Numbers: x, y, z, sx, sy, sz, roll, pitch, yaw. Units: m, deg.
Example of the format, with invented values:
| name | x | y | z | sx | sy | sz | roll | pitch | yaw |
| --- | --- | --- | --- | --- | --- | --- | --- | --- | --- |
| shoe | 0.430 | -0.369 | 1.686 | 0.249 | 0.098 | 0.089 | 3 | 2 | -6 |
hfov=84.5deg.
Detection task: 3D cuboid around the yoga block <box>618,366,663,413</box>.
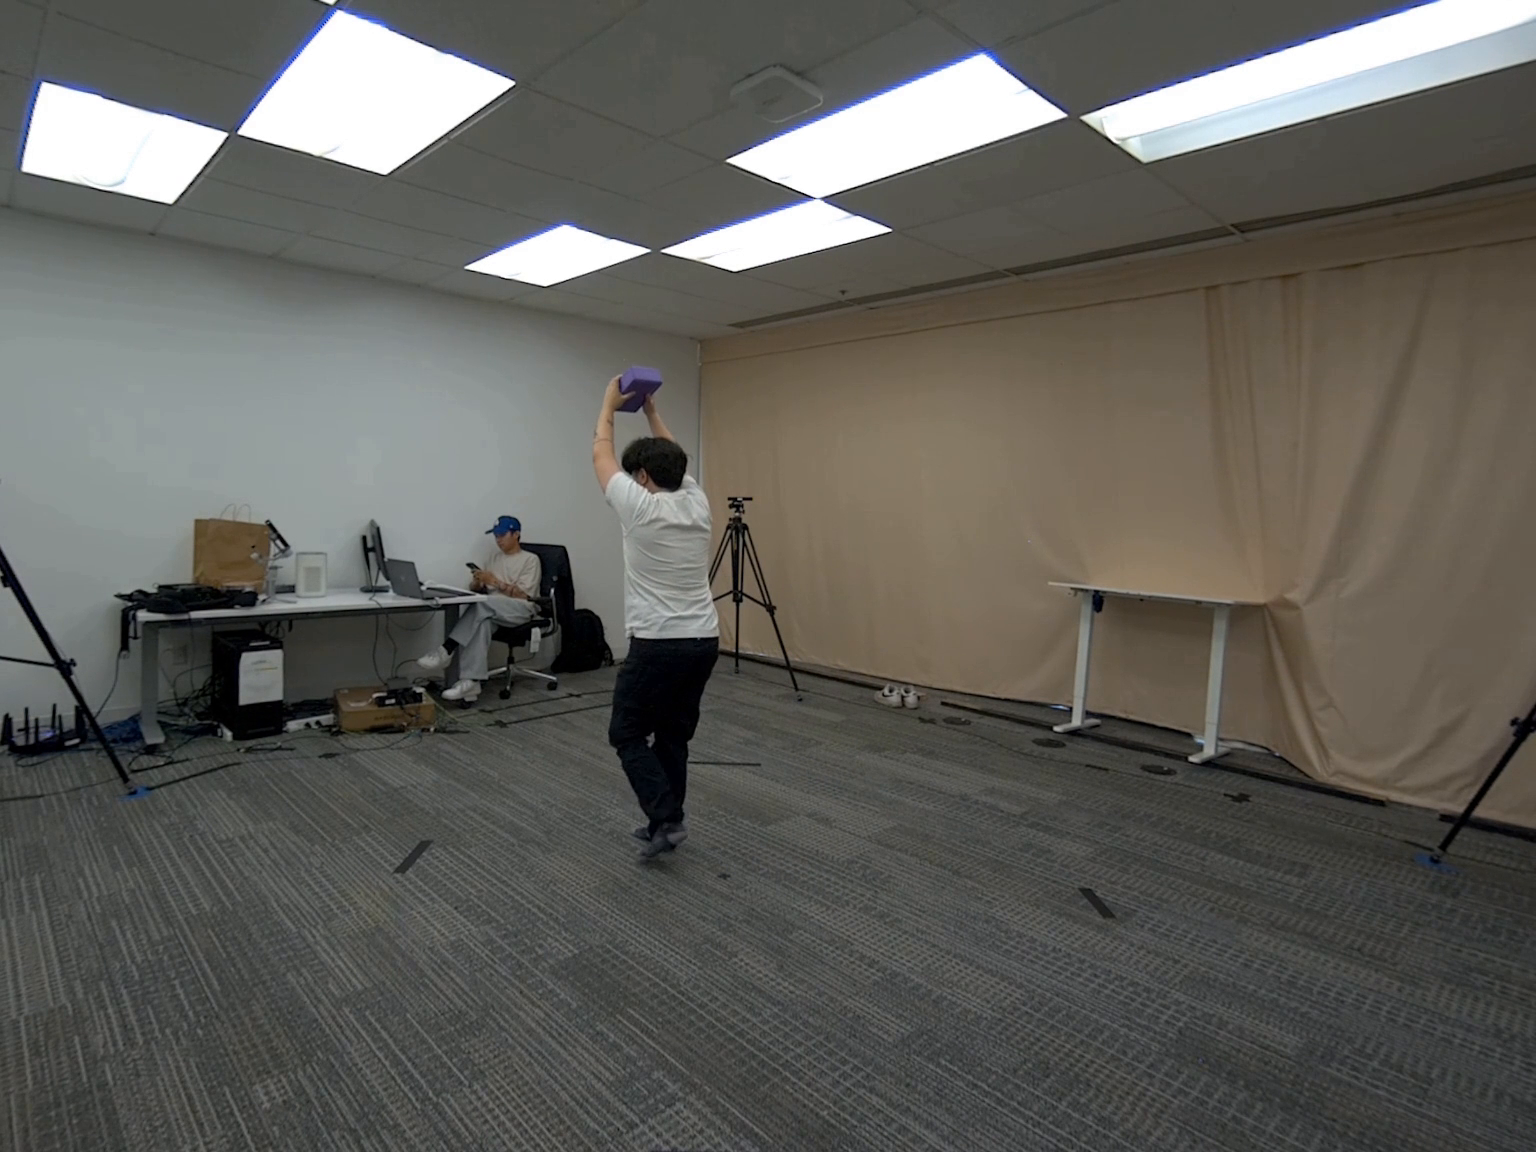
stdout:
| name | x | y | z | sx | sy | sz | roll | pitch | yaw |
| --- | --- | --- | --- | --- | --- | --- | --- | --- | --- |
| yoga block | -0.565 | -0.768 | 3.496 | 0.146 | 0.077 | 0.231 | -5 | -22 | -44 |
